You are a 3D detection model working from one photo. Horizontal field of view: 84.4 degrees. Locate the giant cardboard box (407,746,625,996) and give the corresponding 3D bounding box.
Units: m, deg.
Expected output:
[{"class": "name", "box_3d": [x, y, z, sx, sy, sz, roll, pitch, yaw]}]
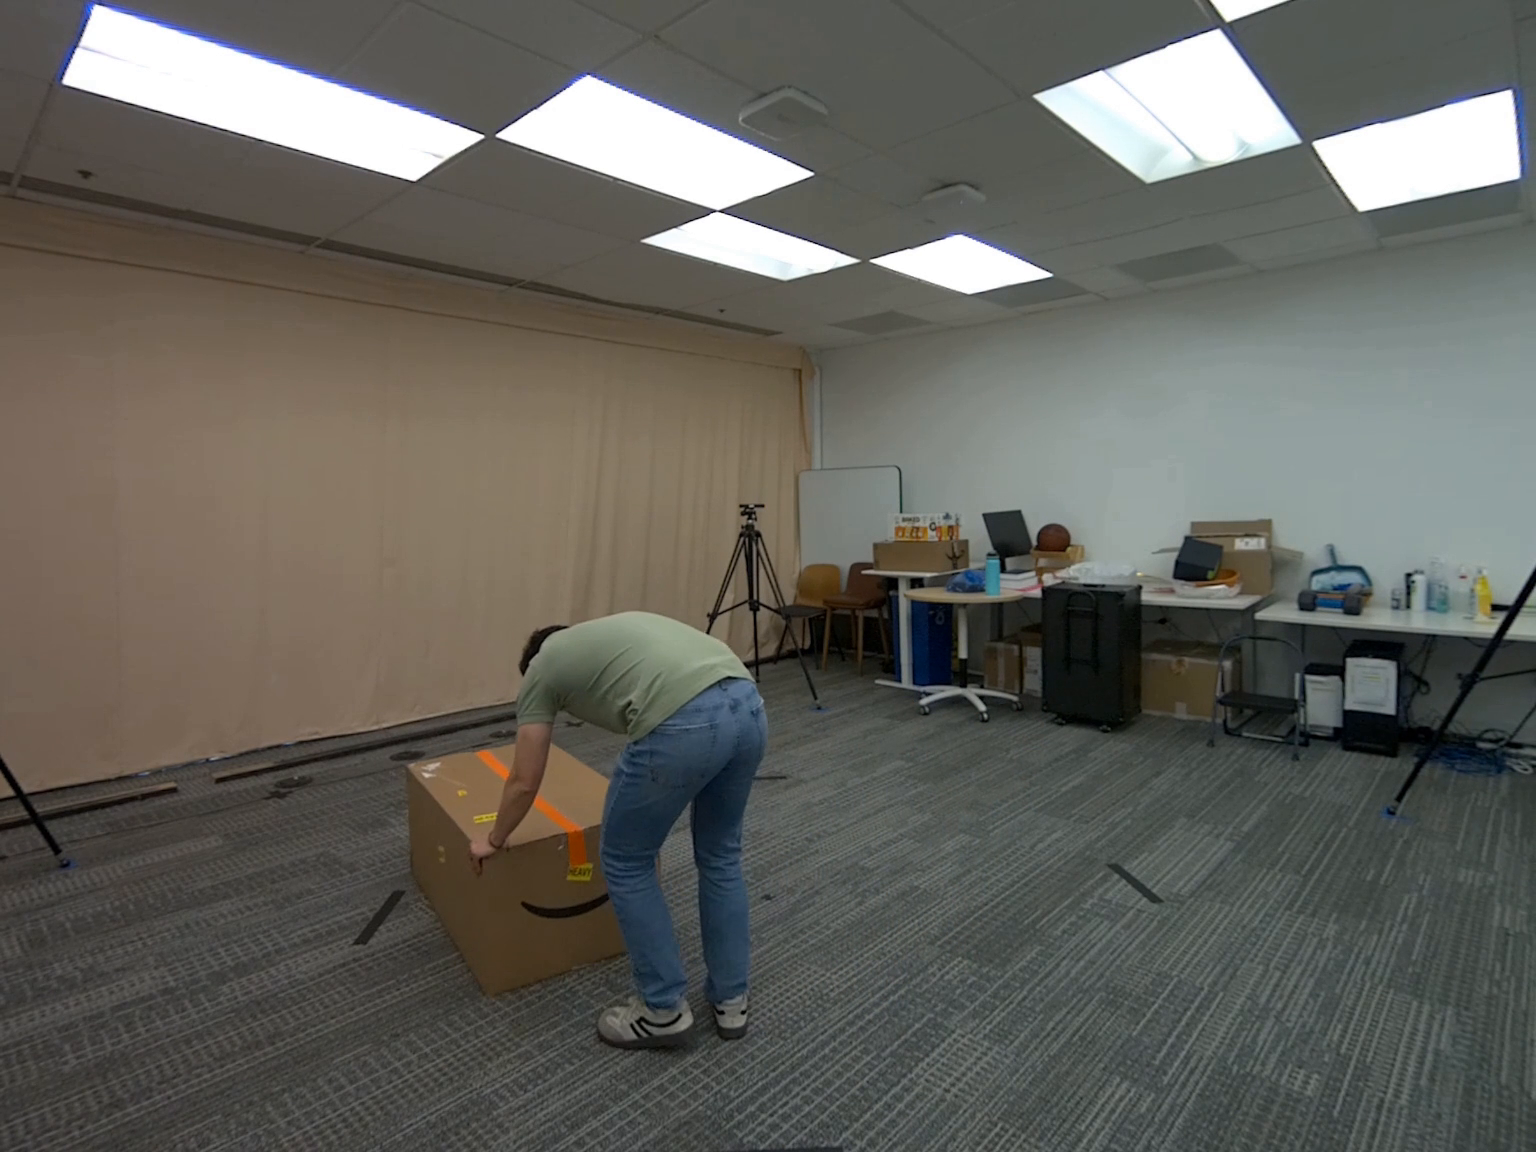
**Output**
[{"class": "giant cardboard box", "box_3d": [-0.876, 0.942, 2.982, 0.561, 0.425, 1.058, -4, 6, -34]}]
